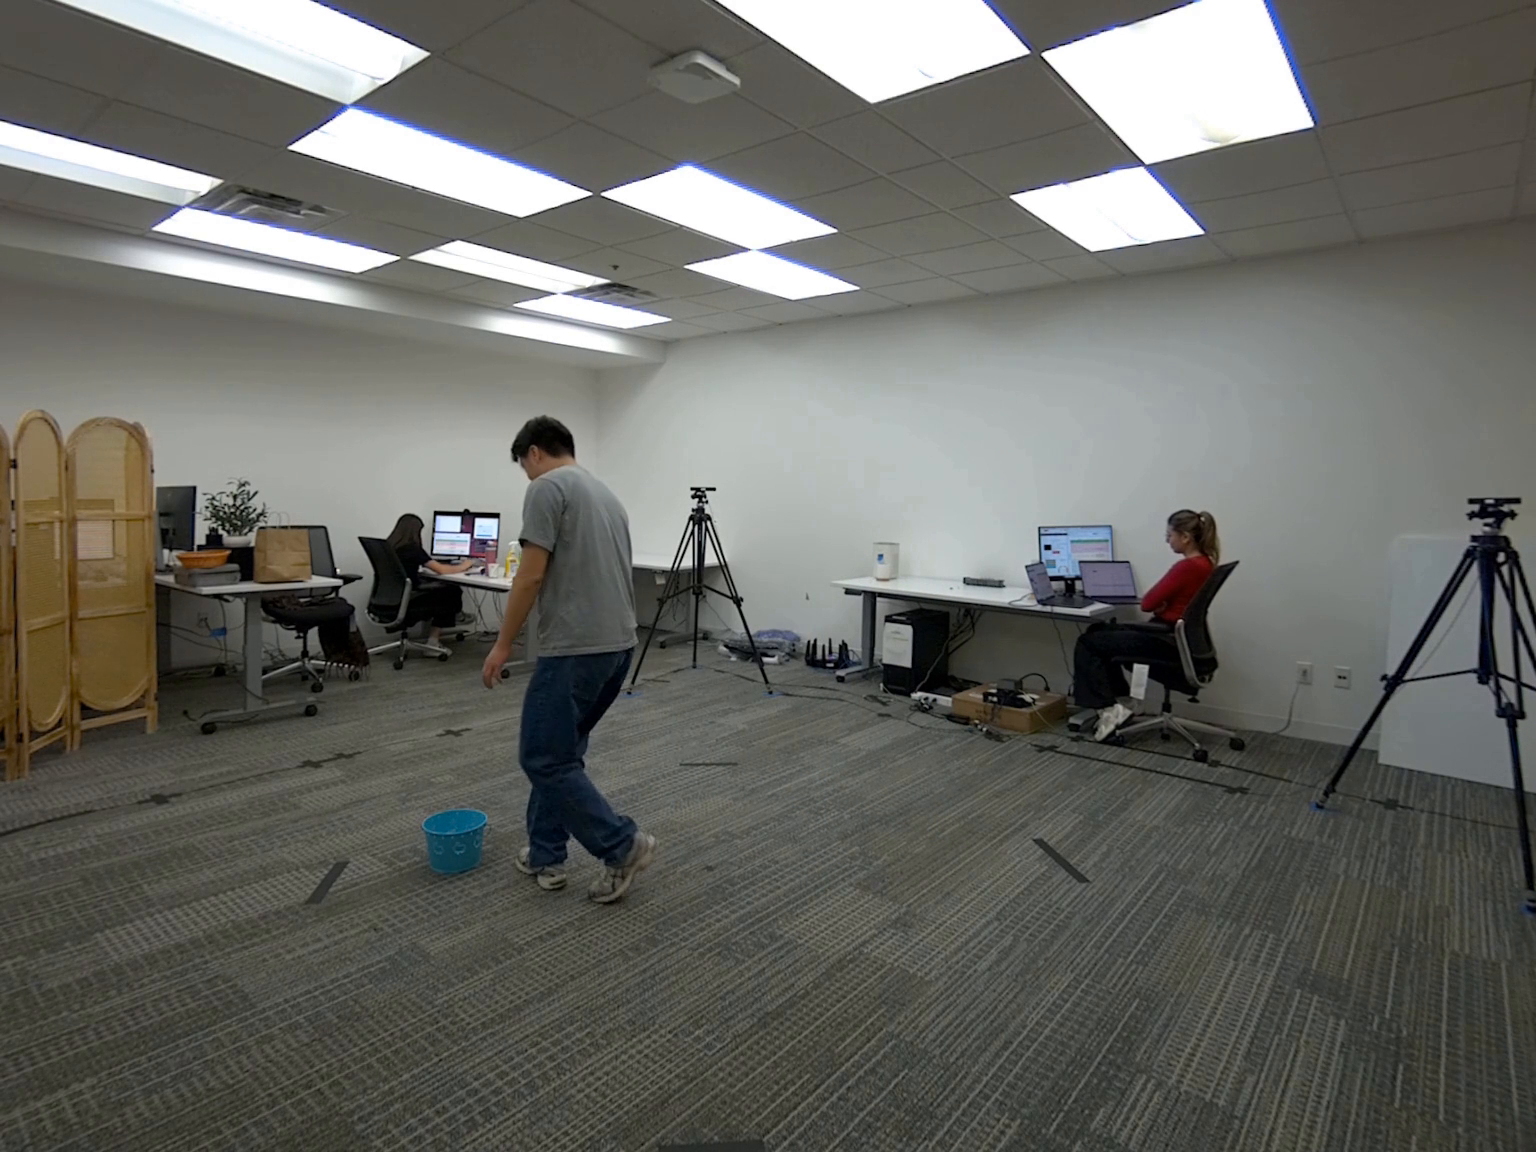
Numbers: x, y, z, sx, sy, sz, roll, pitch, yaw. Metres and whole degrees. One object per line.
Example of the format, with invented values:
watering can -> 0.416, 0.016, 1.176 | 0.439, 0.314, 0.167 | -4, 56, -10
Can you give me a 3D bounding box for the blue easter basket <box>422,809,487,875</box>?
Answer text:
blue easter basket -> -1.159, 0.973, 3.123 | 0.243, 0.155, 0.245 | 0, 5, -2
